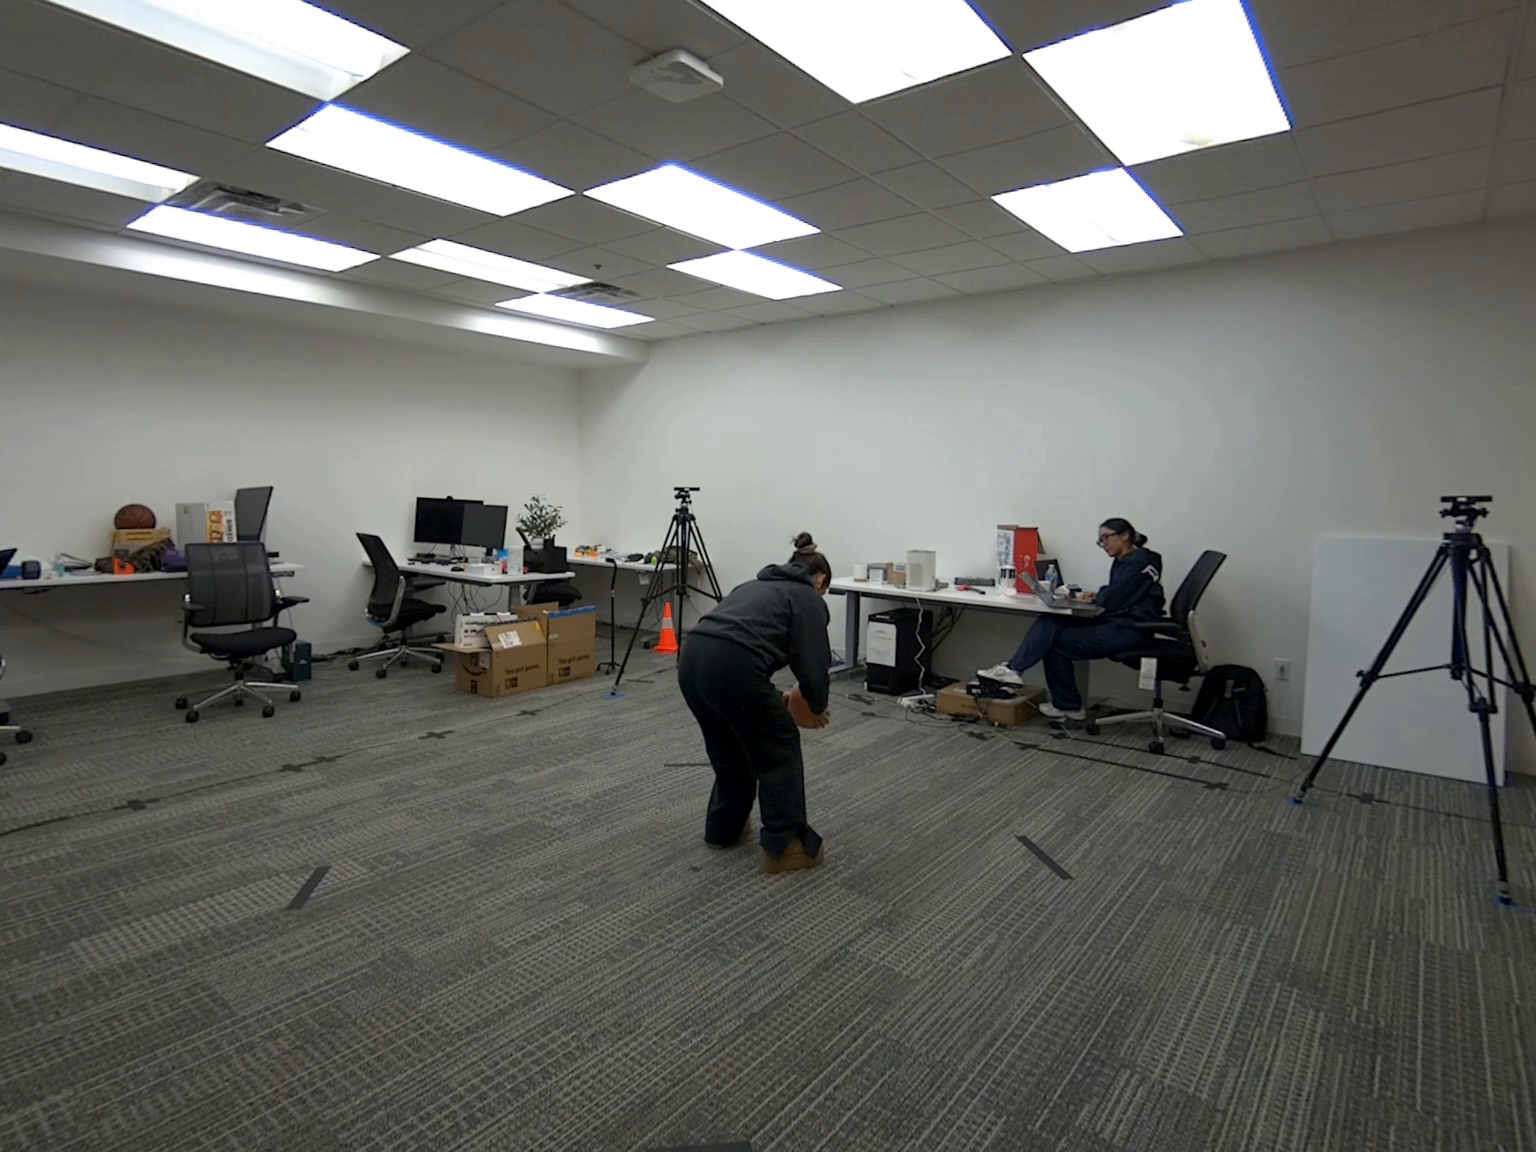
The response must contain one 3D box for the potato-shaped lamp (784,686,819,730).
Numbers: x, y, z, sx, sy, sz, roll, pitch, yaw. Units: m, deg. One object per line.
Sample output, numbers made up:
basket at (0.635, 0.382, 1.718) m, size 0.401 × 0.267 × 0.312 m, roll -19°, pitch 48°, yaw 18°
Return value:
potato-shaped lamp at (0.162, 0.514, 3.475) m, size 0.171 × 0.196 × 0.166 m, roll 15°, pitch 13°, yaw 38°
